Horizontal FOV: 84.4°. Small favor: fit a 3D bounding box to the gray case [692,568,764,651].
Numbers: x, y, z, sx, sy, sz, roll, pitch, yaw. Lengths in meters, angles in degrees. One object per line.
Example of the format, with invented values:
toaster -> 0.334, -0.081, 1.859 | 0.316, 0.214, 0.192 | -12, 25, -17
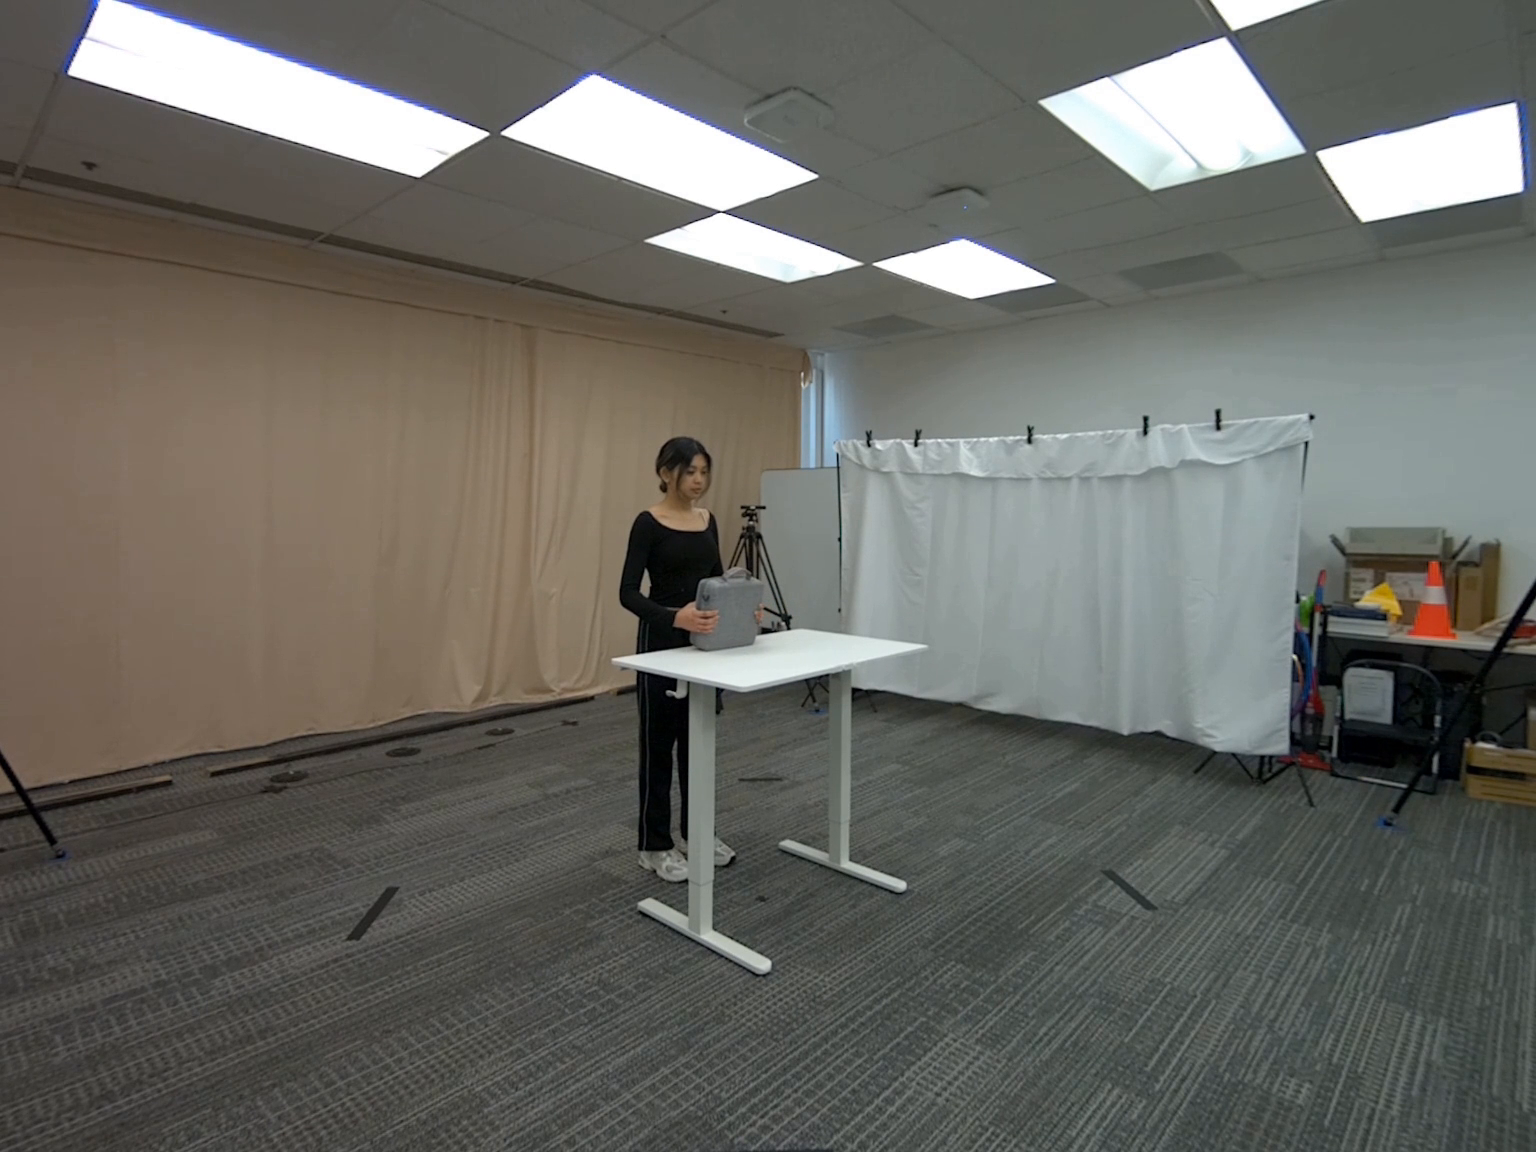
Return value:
gray case -> -0.147, 0.125, 3.011 | 0.249, 0.259, 0.108 | -2, 16, -38
